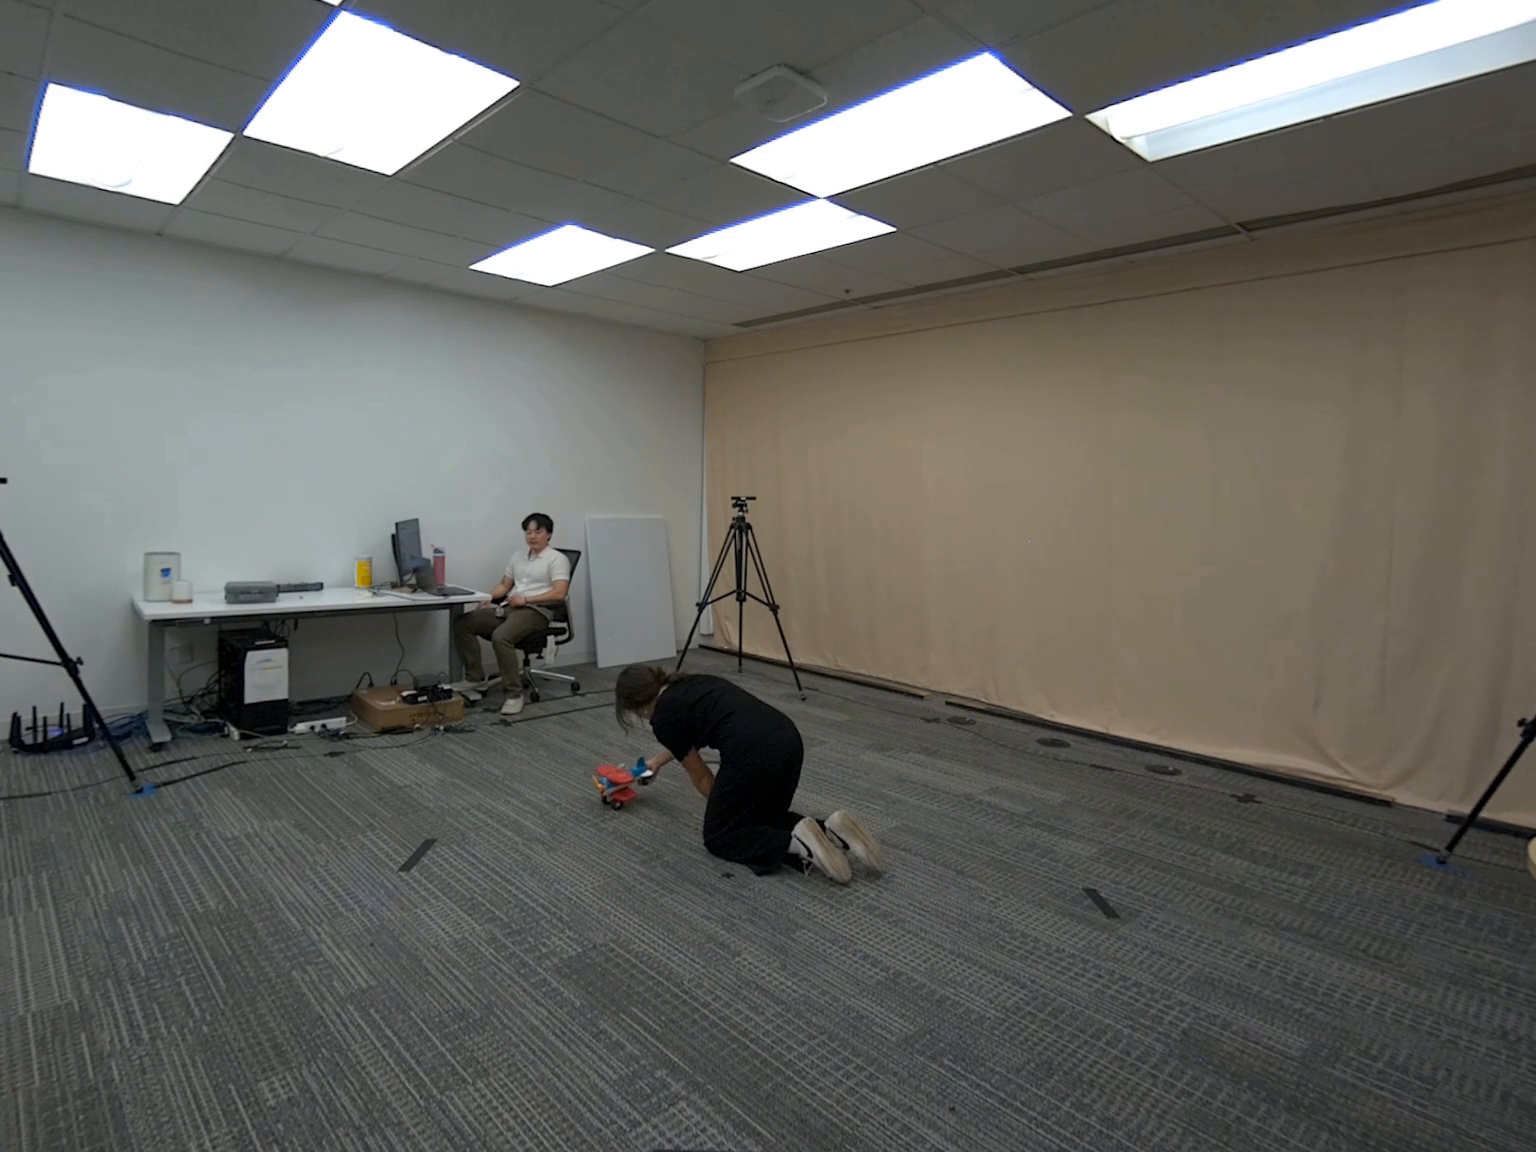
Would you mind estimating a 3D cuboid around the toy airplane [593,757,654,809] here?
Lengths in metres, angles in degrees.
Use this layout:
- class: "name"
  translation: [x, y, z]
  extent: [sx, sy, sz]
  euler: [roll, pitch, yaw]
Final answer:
- class: "toy airplane"
  translation: [-0.677, 0.930, 3.809]
  extent: [0.255, 0.154, 0.260]
  euler: [-9, 22, 23]
